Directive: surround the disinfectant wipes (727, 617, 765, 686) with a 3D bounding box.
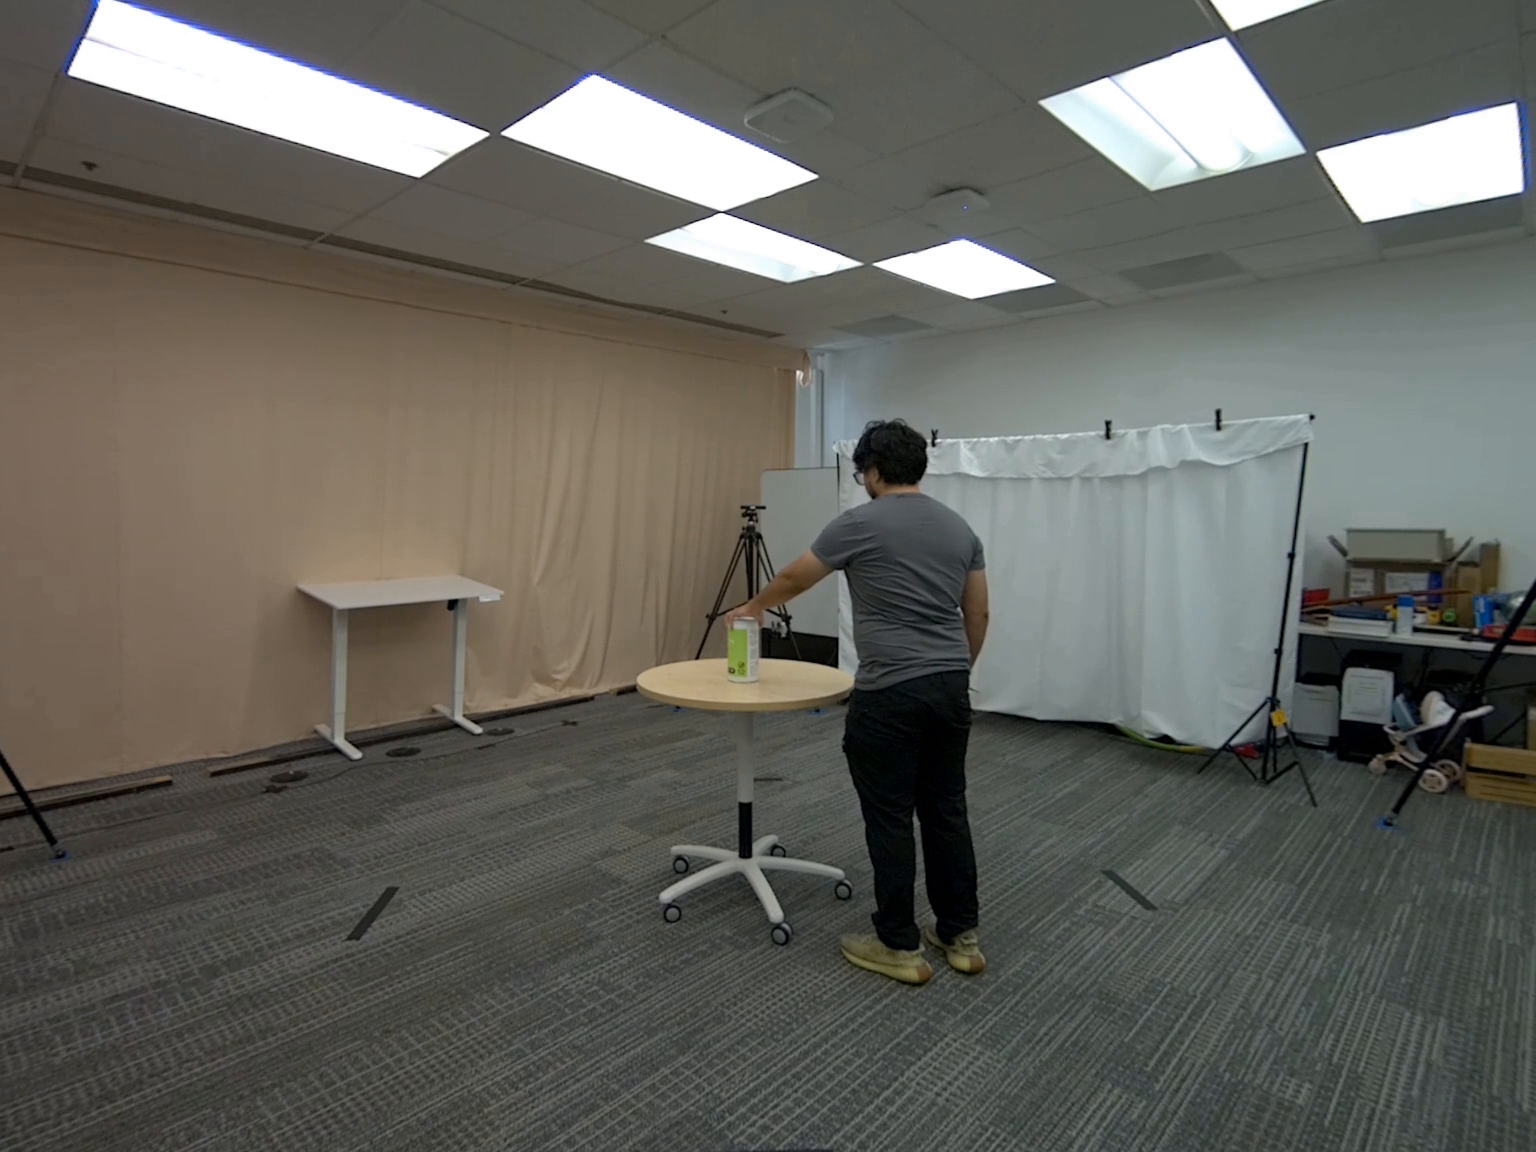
[{"bbox_3d":[-0.080,0.256,2.934,0.118,0.217,0.118,1,3,-2],"label":"disinfectant wipes"}]
